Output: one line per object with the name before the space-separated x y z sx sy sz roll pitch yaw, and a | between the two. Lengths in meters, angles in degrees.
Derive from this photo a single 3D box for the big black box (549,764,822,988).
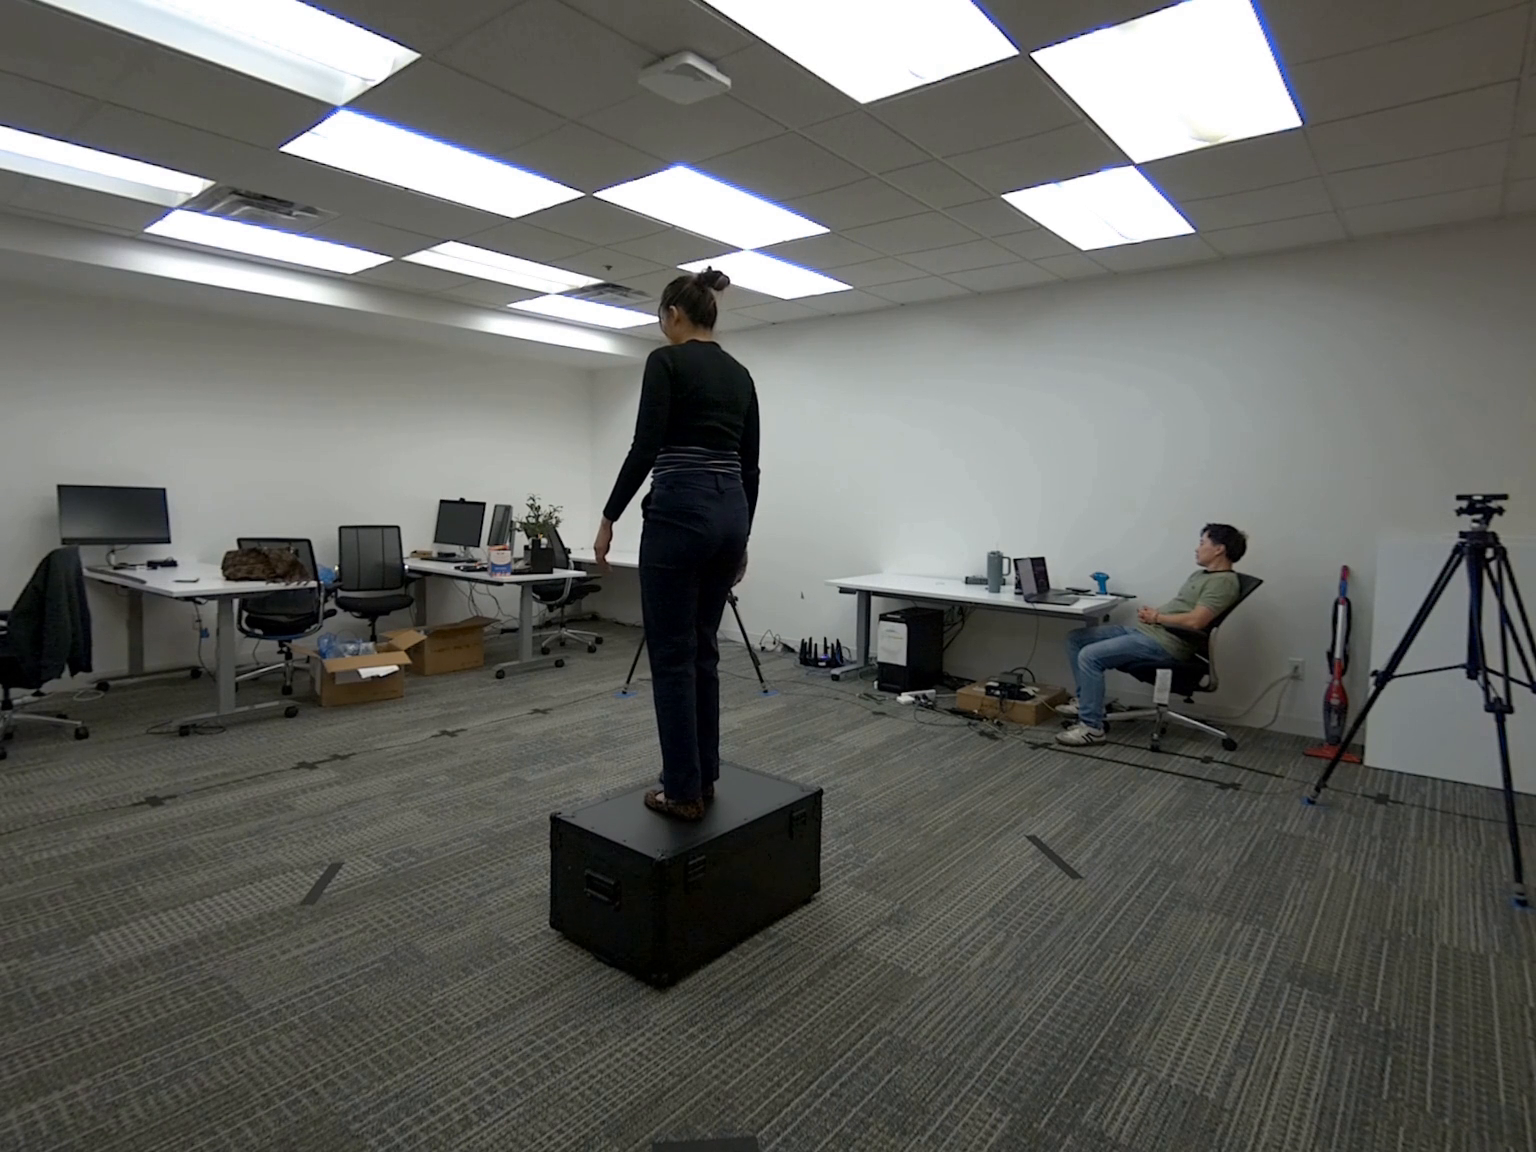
big black box | -0.274 0.911 2.737 0.539 0.395 0.836 4 6 39
